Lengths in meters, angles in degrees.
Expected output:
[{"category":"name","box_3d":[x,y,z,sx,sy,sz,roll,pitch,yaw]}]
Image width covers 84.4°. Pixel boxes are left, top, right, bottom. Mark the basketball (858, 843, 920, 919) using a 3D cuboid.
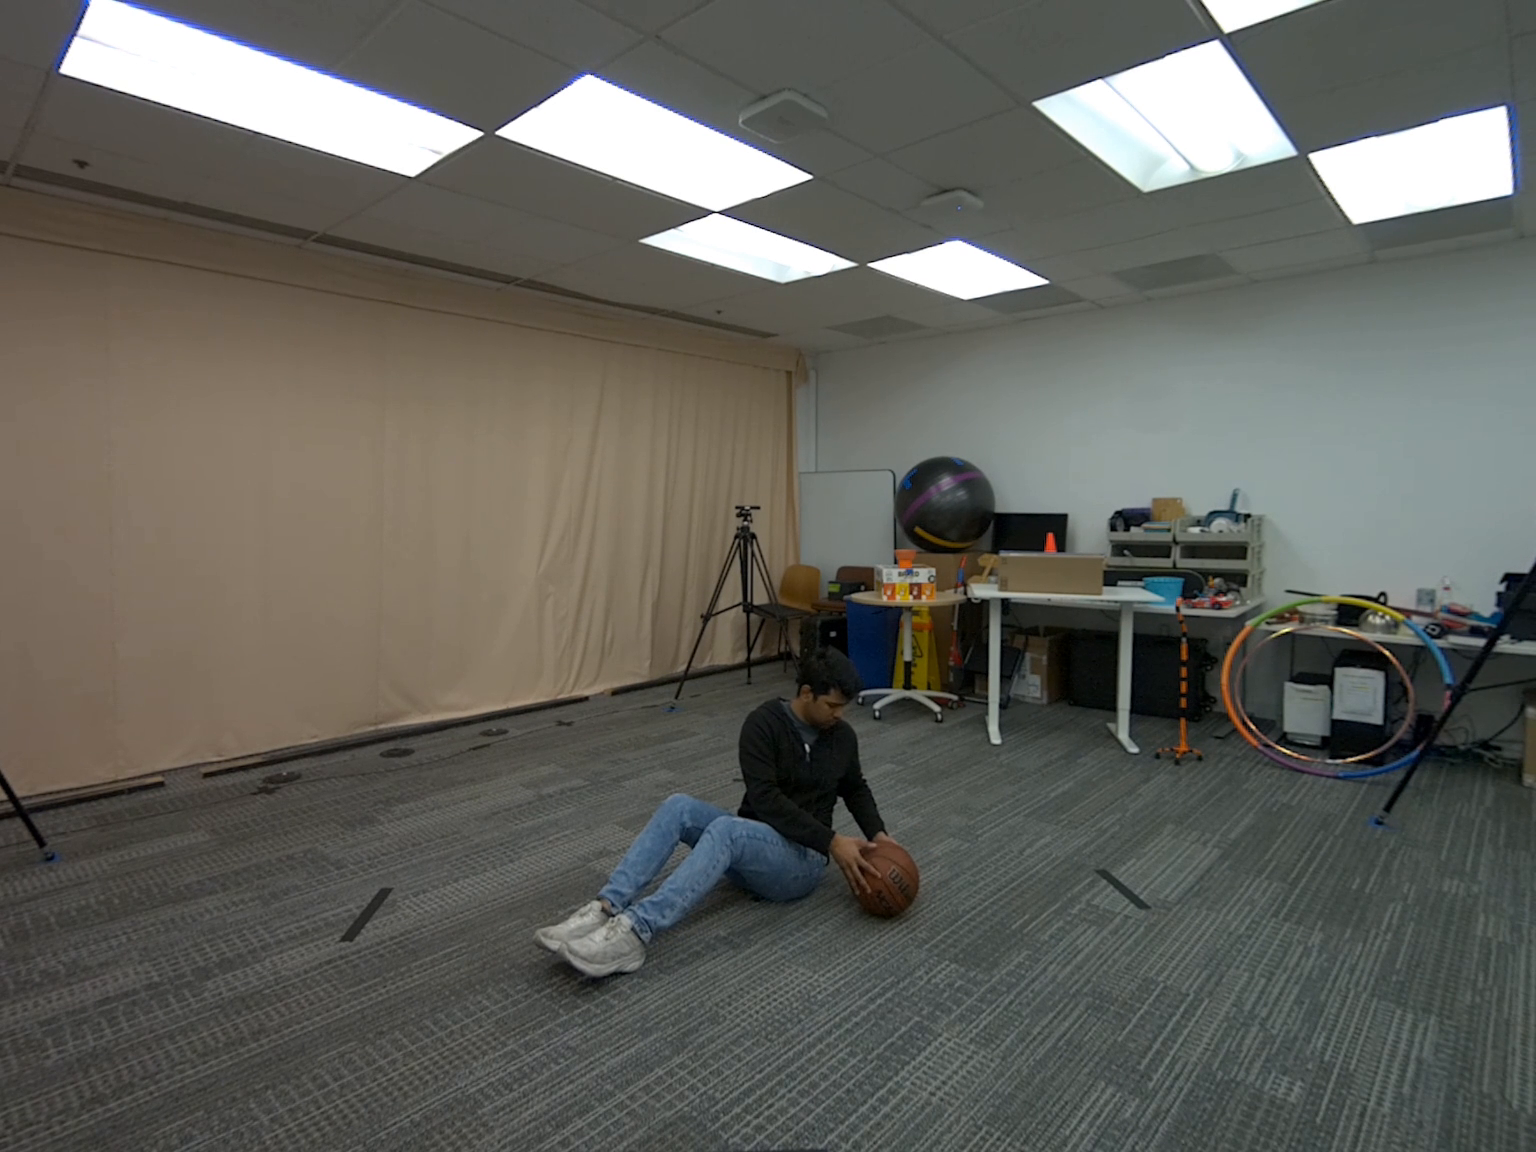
[{"category":"basketball","box_3d":[0.394,1.021,2.868,0.236,0.235,0.237,0,4,-2]}]
